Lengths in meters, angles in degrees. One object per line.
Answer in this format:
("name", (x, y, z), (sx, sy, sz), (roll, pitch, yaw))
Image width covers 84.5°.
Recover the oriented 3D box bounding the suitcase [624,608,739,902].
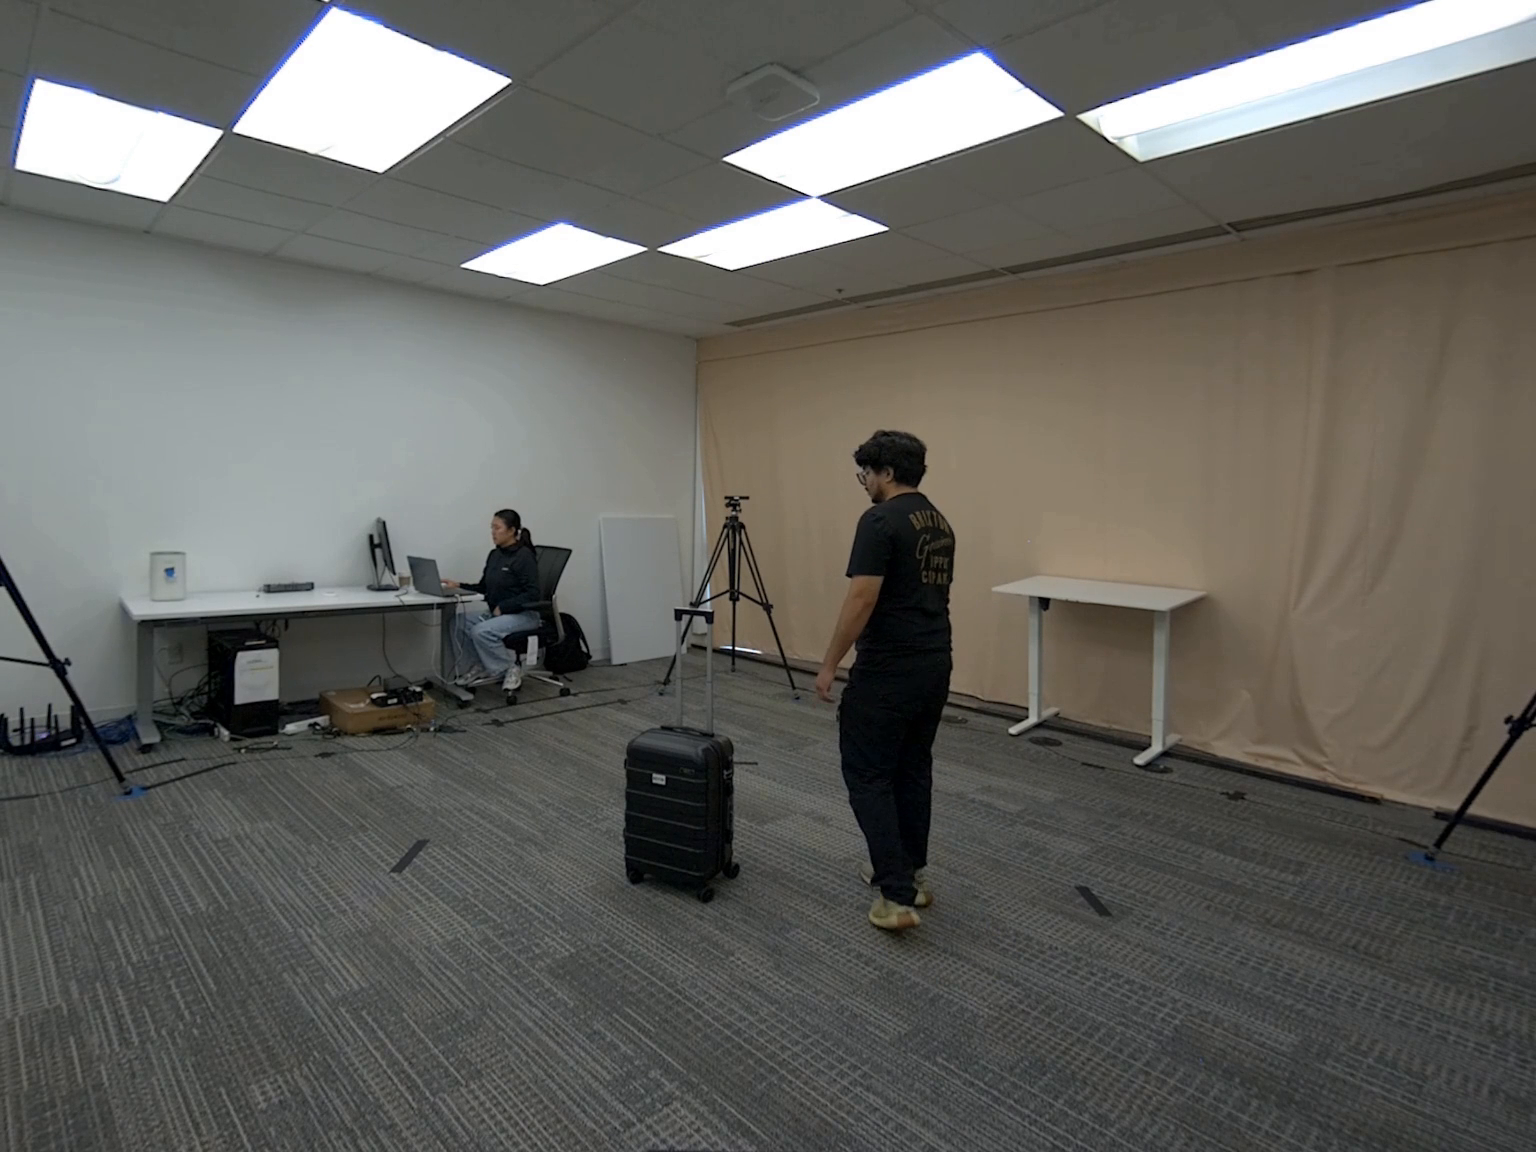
("suitcase", (-0.317, 0.629, 3.013), (0.391, 0.974, 0.253), (3, 7, 24))
